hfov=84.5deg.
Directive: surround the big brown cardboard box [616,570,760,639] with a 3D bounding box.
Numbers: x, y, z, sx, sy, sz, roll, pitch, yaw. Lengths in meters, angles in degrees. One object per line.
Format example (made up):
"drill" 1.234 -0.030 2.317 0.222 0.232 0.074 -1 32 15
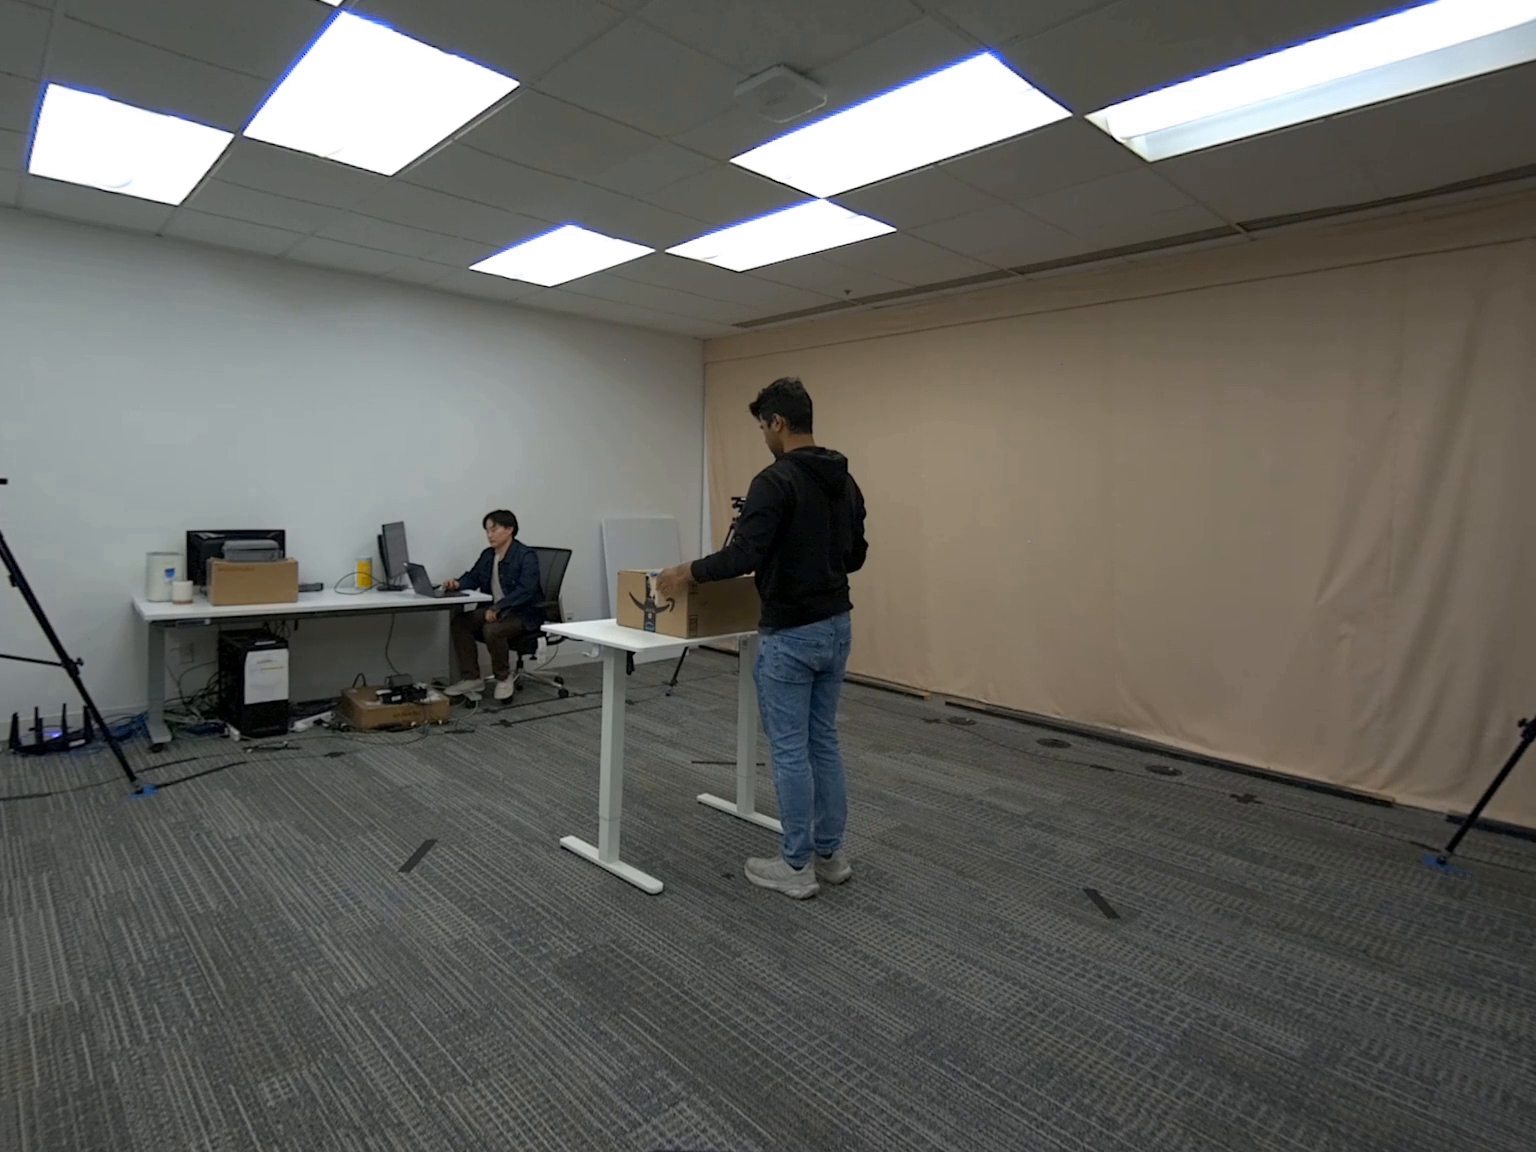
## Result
"big brown cardboard box" -0.252 0.090 3.362 0.428 0.232 0.576 6 7 43
